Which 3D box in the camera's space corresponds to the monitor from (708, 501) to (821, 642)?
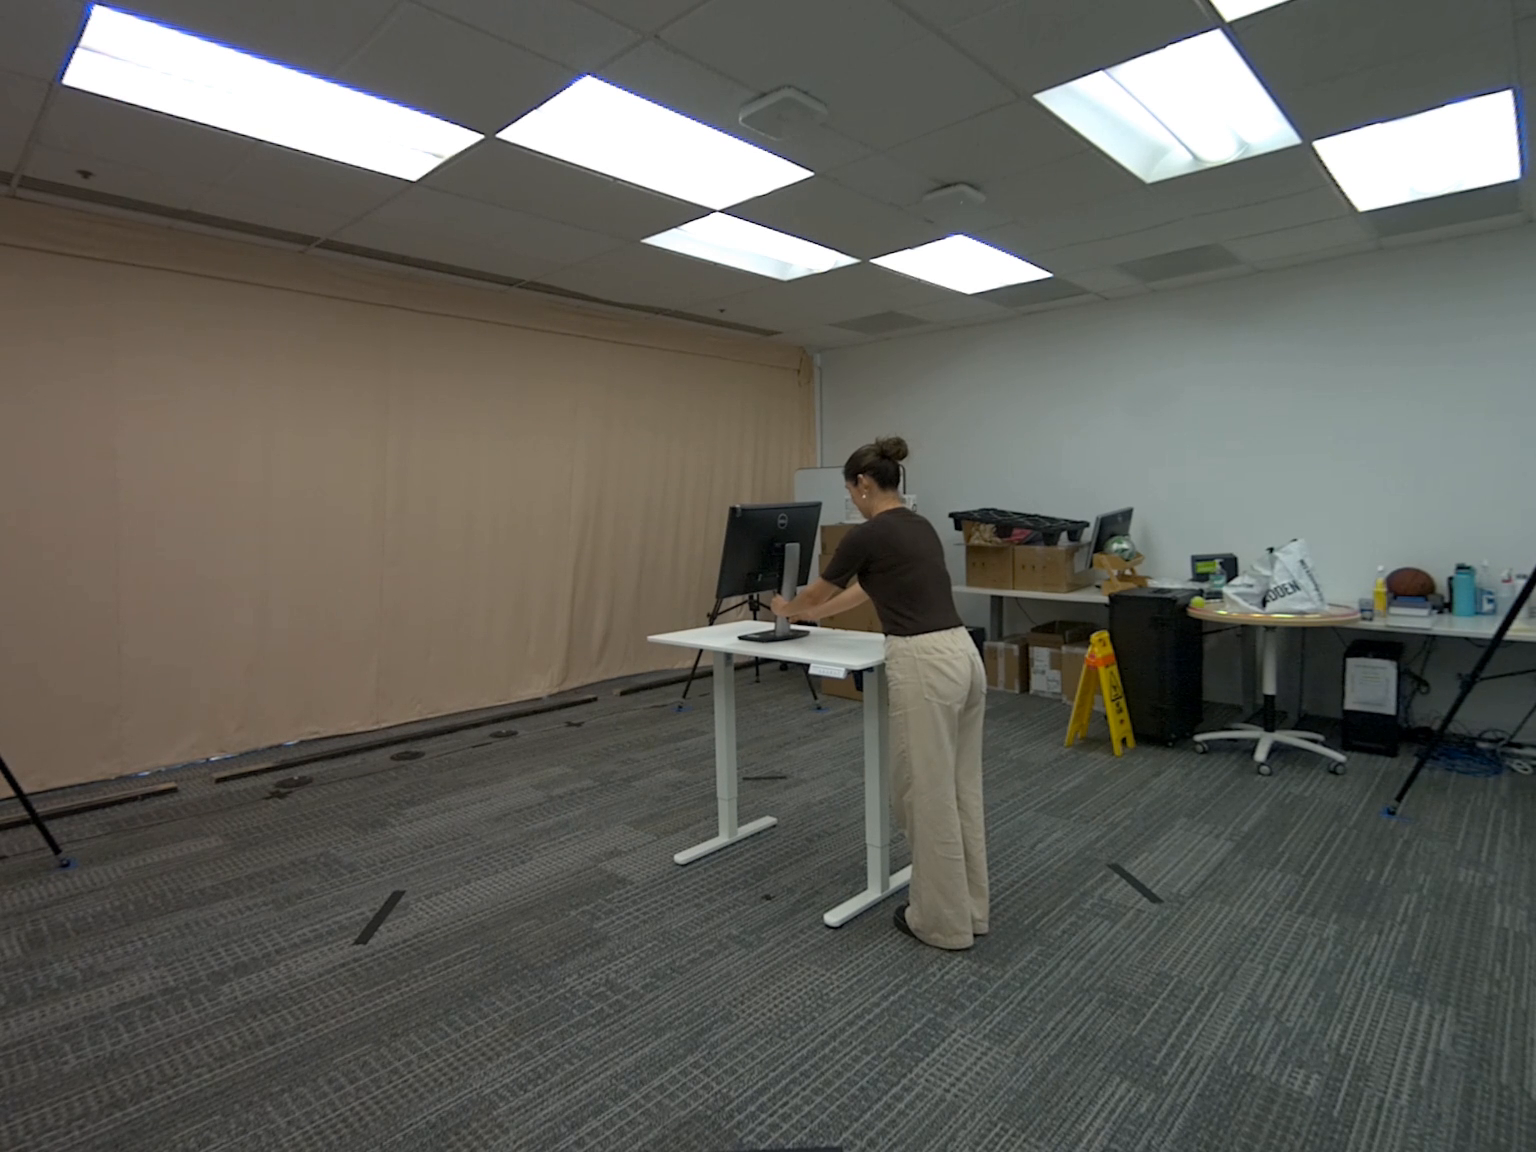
[{"bbox_3d":[0.037,-0.020,3.224,0.180,0.515,0.514,-2,4,40],"label":"monitor"}]
